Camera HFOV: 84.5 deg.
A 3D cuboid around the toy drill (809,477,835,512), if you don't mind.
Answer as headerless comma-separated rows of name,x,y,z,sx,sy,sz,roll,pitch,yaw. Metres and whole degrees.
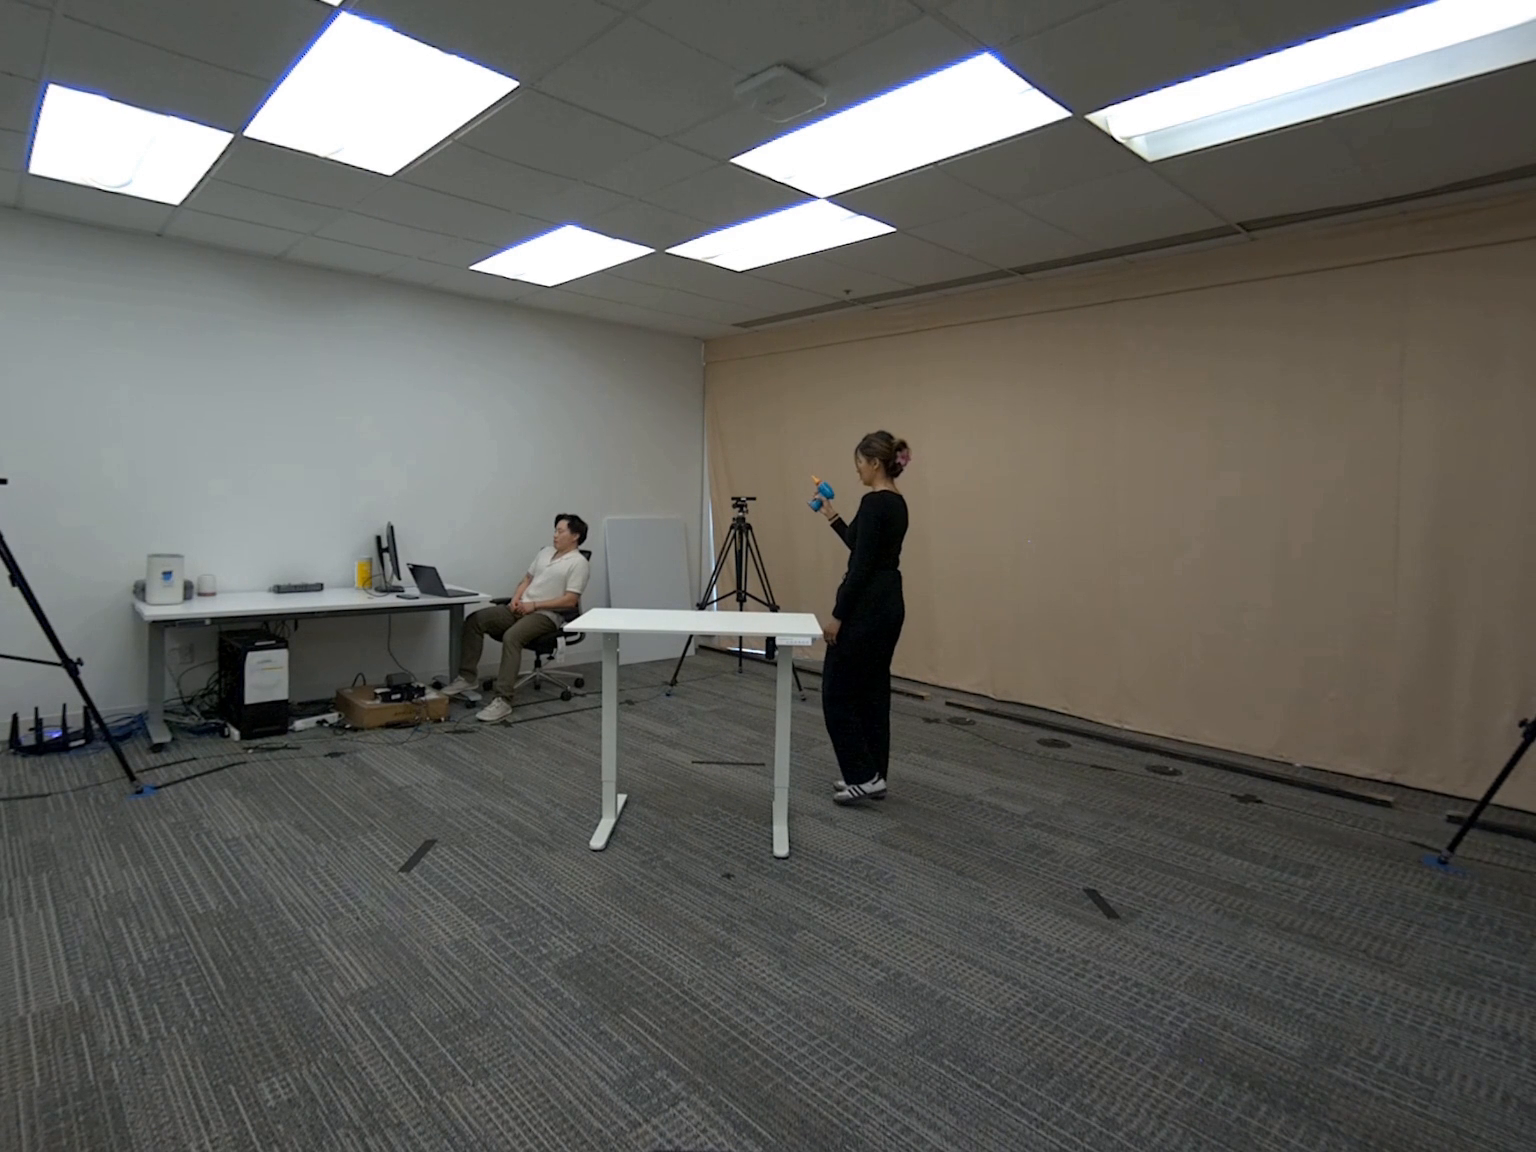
toy drill,0.243,-0.428,4.304,0.174,0.146,0.060,51,12,23
